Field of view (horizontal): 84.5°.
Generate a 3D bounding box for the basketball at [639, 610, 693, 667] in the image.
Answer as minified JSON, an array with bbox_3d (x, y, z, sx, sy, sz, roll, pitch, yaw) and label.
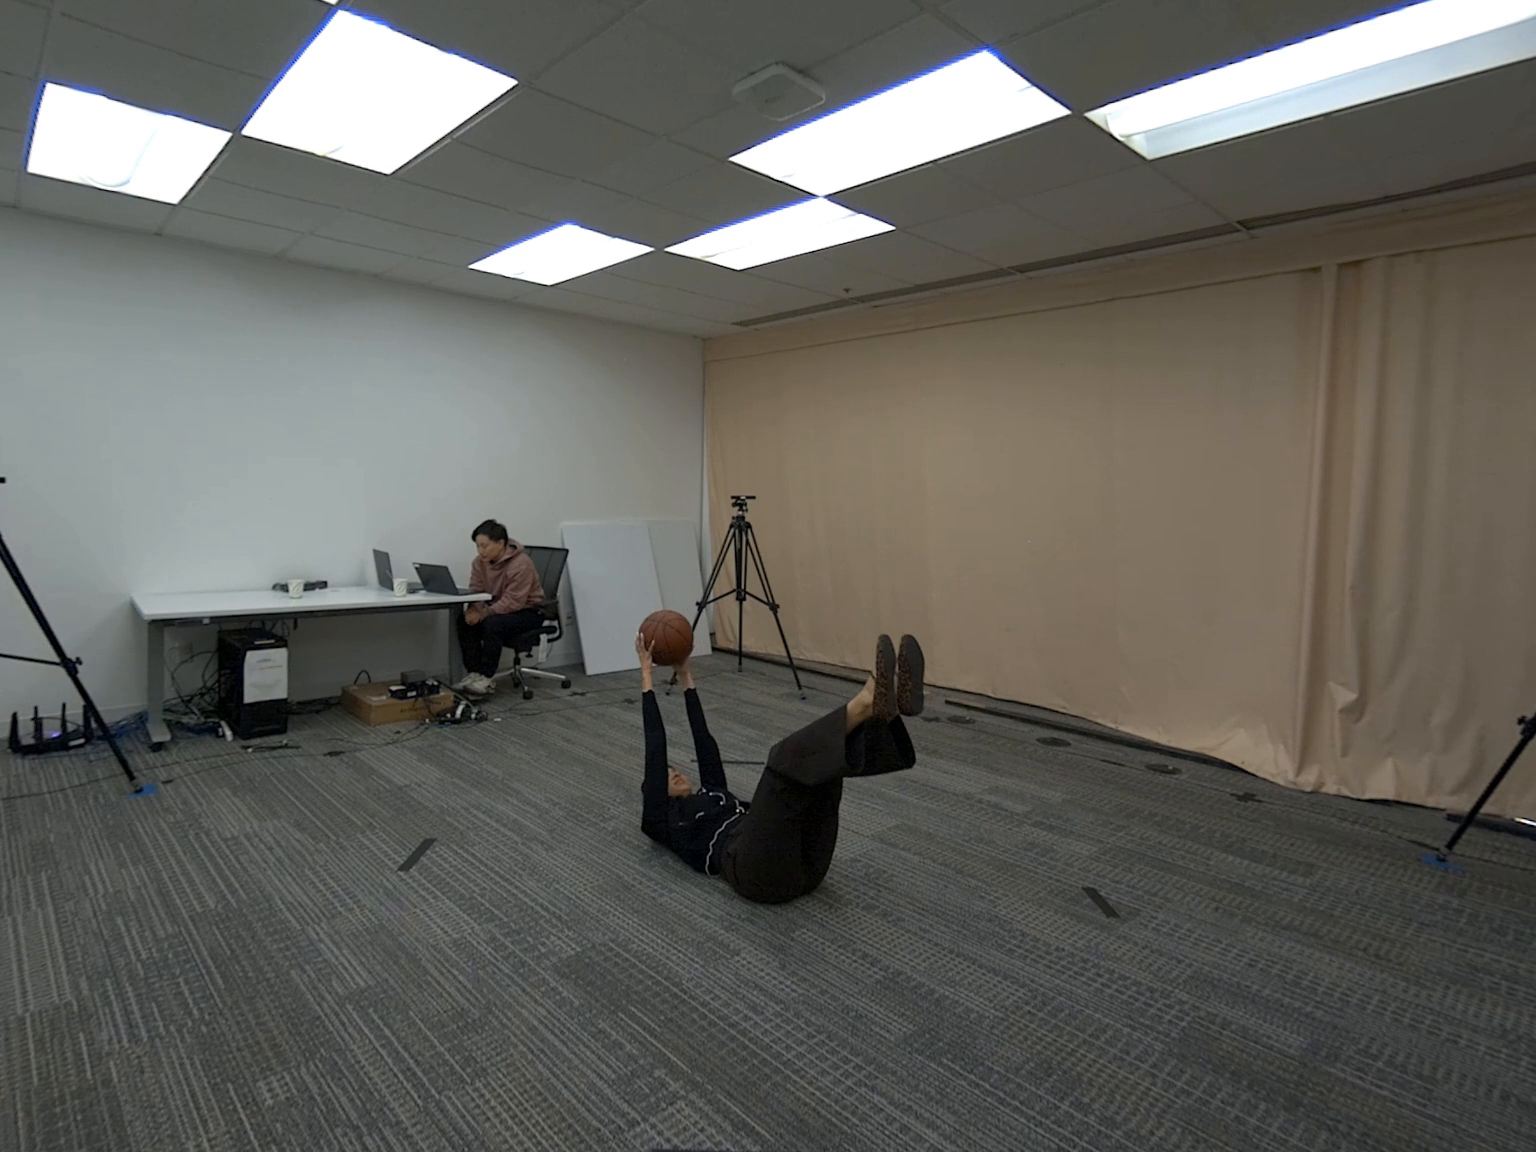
[{"bbox_3d":[-0.439,0.261,3.554,0.236,0.235,0.237,1,4,-1],"label":"basketball"}]
